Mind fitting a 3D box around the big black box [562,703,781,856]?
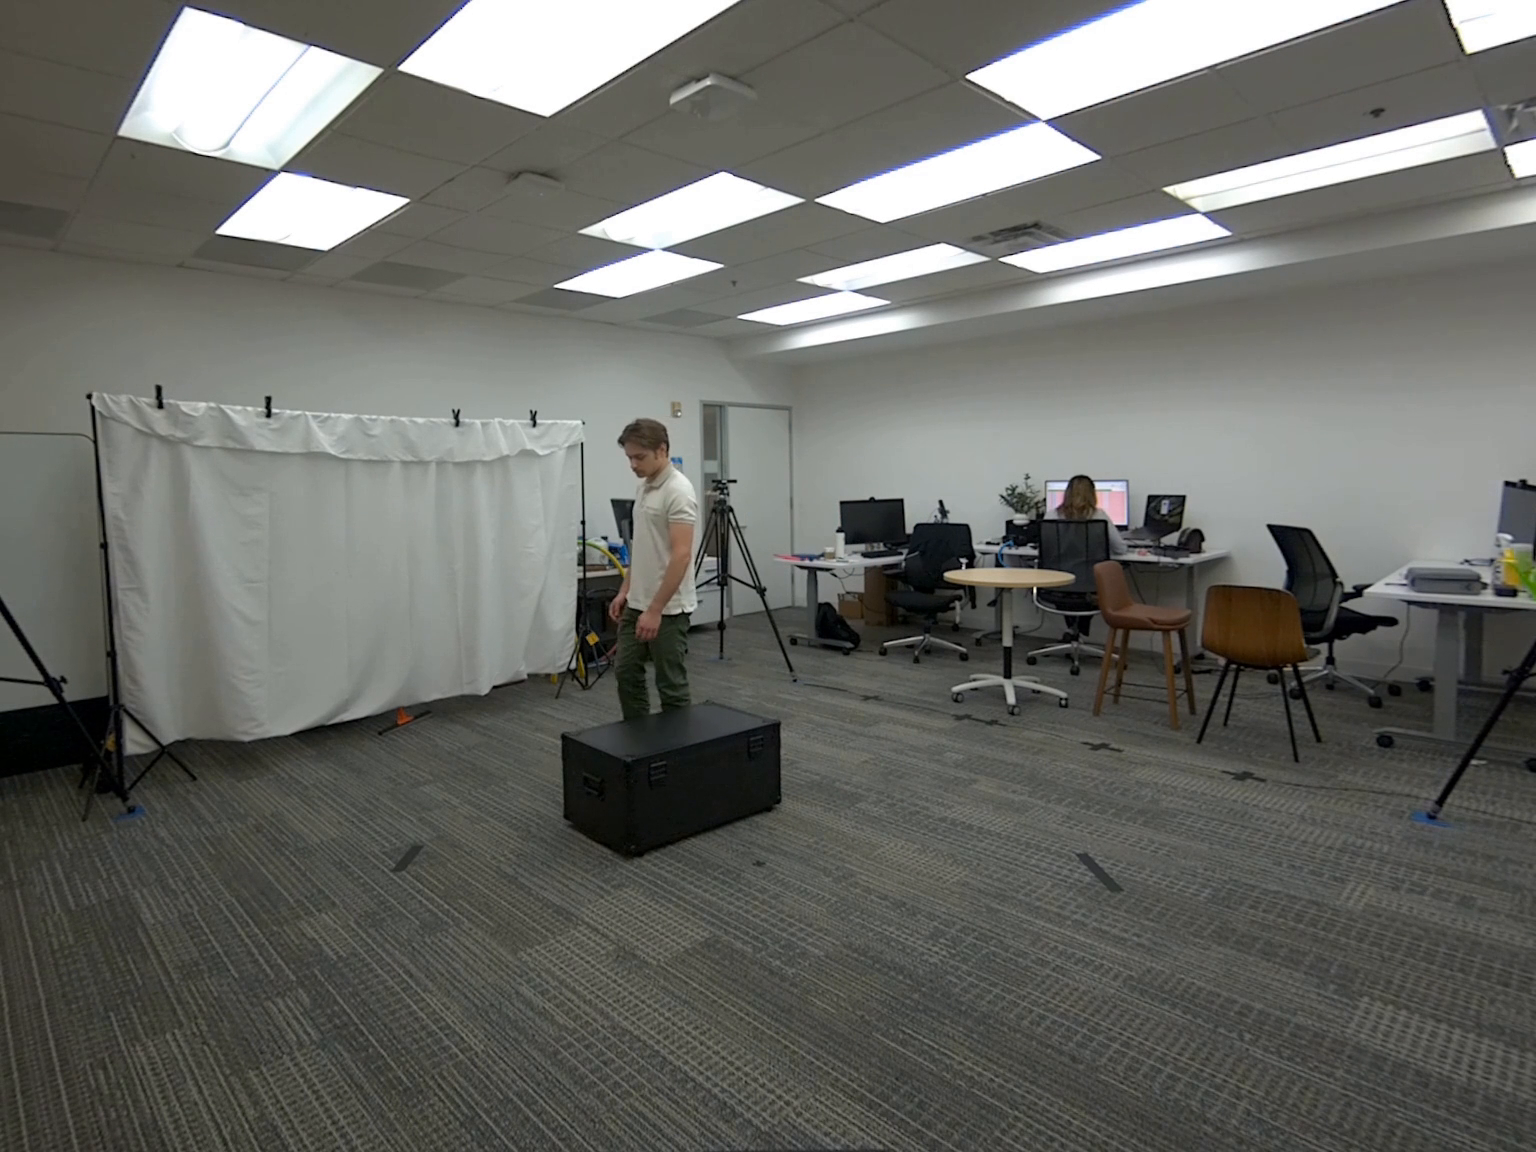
[{"bbox_3d":[-0.365,0.809,3.576,0.839,0.394,0.537,-7,7,-42],"label":"big black box"}]
